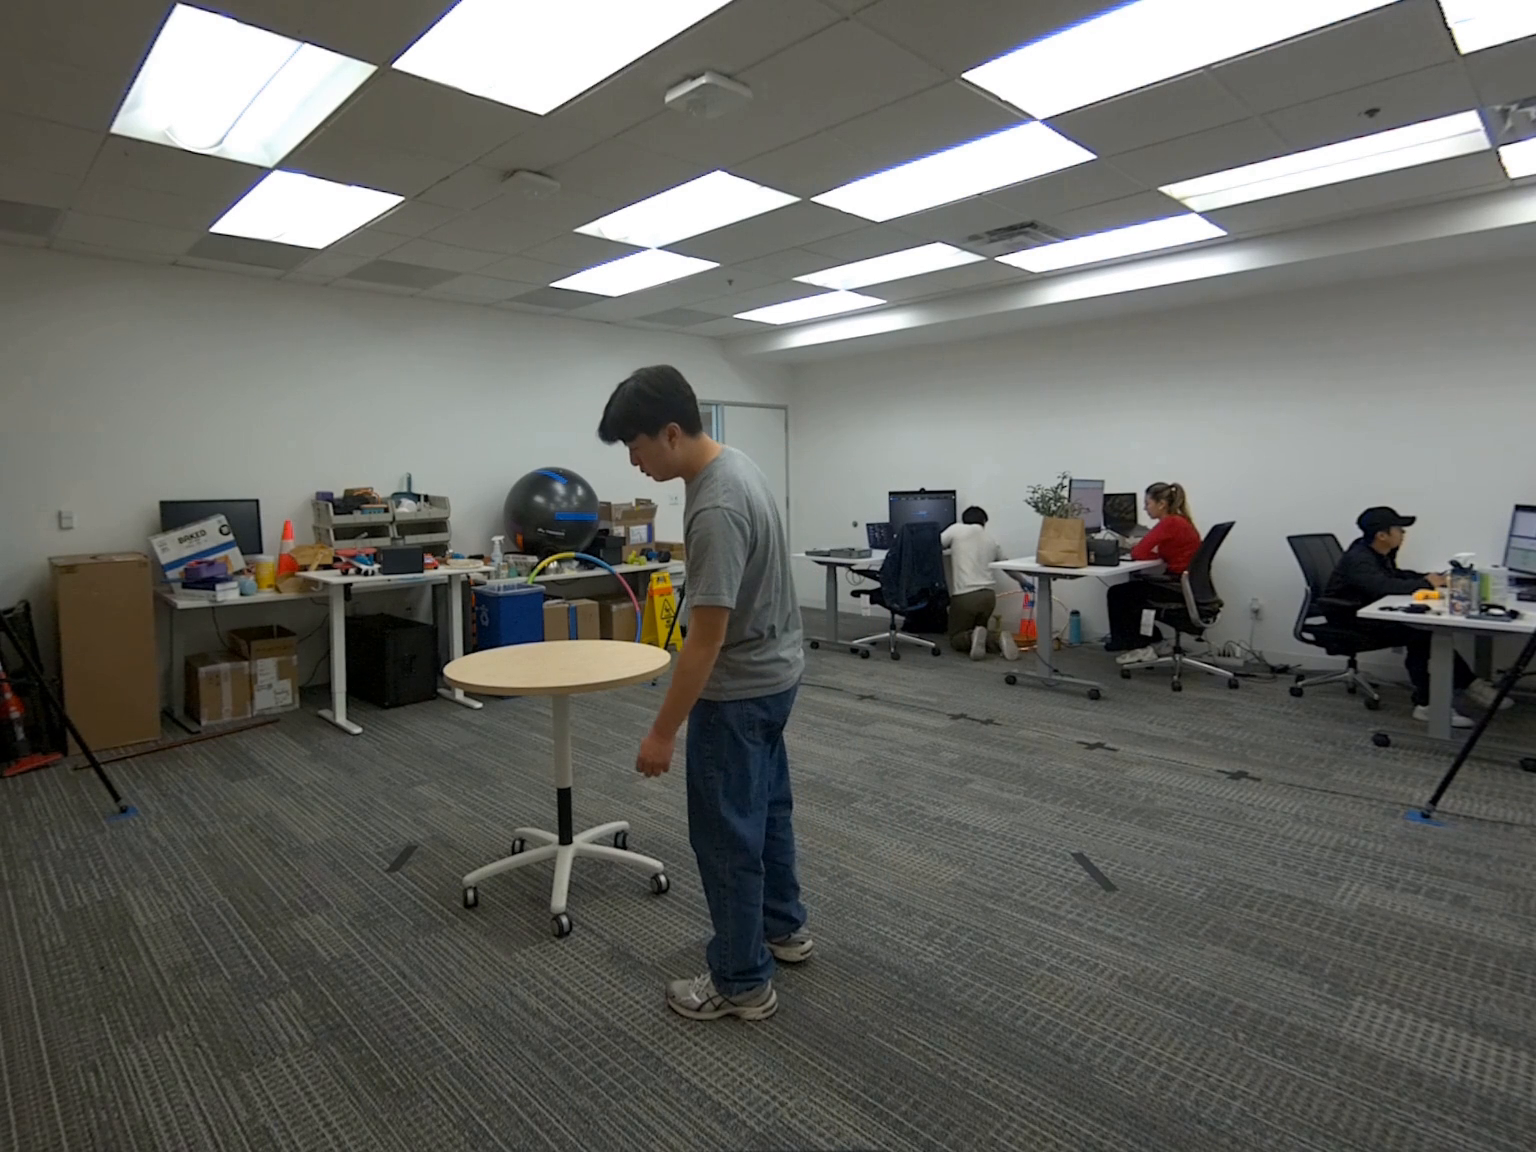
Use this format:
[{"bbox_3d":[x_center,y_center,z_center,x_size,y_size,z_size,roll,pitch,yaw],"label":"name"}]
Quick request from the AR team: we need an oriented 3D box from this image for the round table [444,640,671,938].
[{"bbox_3d":[-0.703,0.684,2.970,0.763,0.791,0.768,-2,5,-2],"label":"round table"}]
